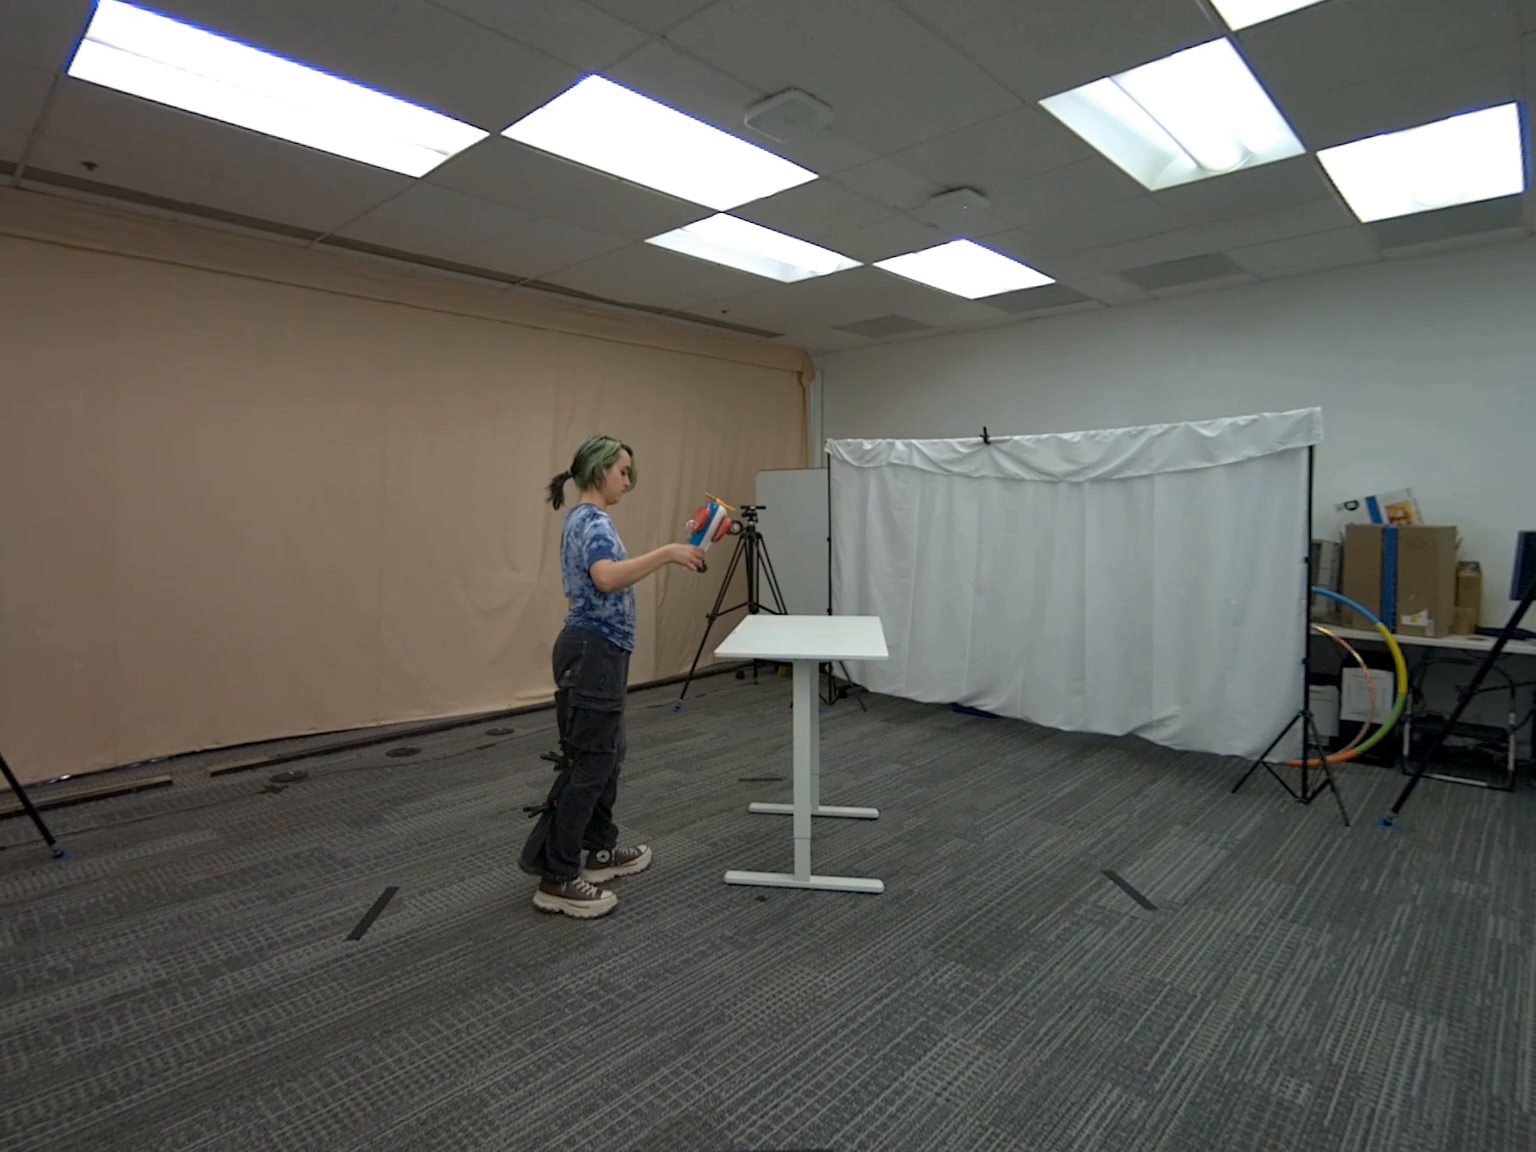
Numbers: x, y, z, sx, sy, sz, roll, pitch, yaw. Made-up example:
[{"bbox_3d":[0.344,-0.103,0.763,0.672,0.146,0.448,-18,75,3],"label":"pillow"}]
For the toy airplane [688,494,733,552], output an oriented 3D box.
[{"bbox_3d":[-0.199,-0.137,2.856,0.154,0.258,0.255,42,-33,-12],"label":"toy airplane"}]
